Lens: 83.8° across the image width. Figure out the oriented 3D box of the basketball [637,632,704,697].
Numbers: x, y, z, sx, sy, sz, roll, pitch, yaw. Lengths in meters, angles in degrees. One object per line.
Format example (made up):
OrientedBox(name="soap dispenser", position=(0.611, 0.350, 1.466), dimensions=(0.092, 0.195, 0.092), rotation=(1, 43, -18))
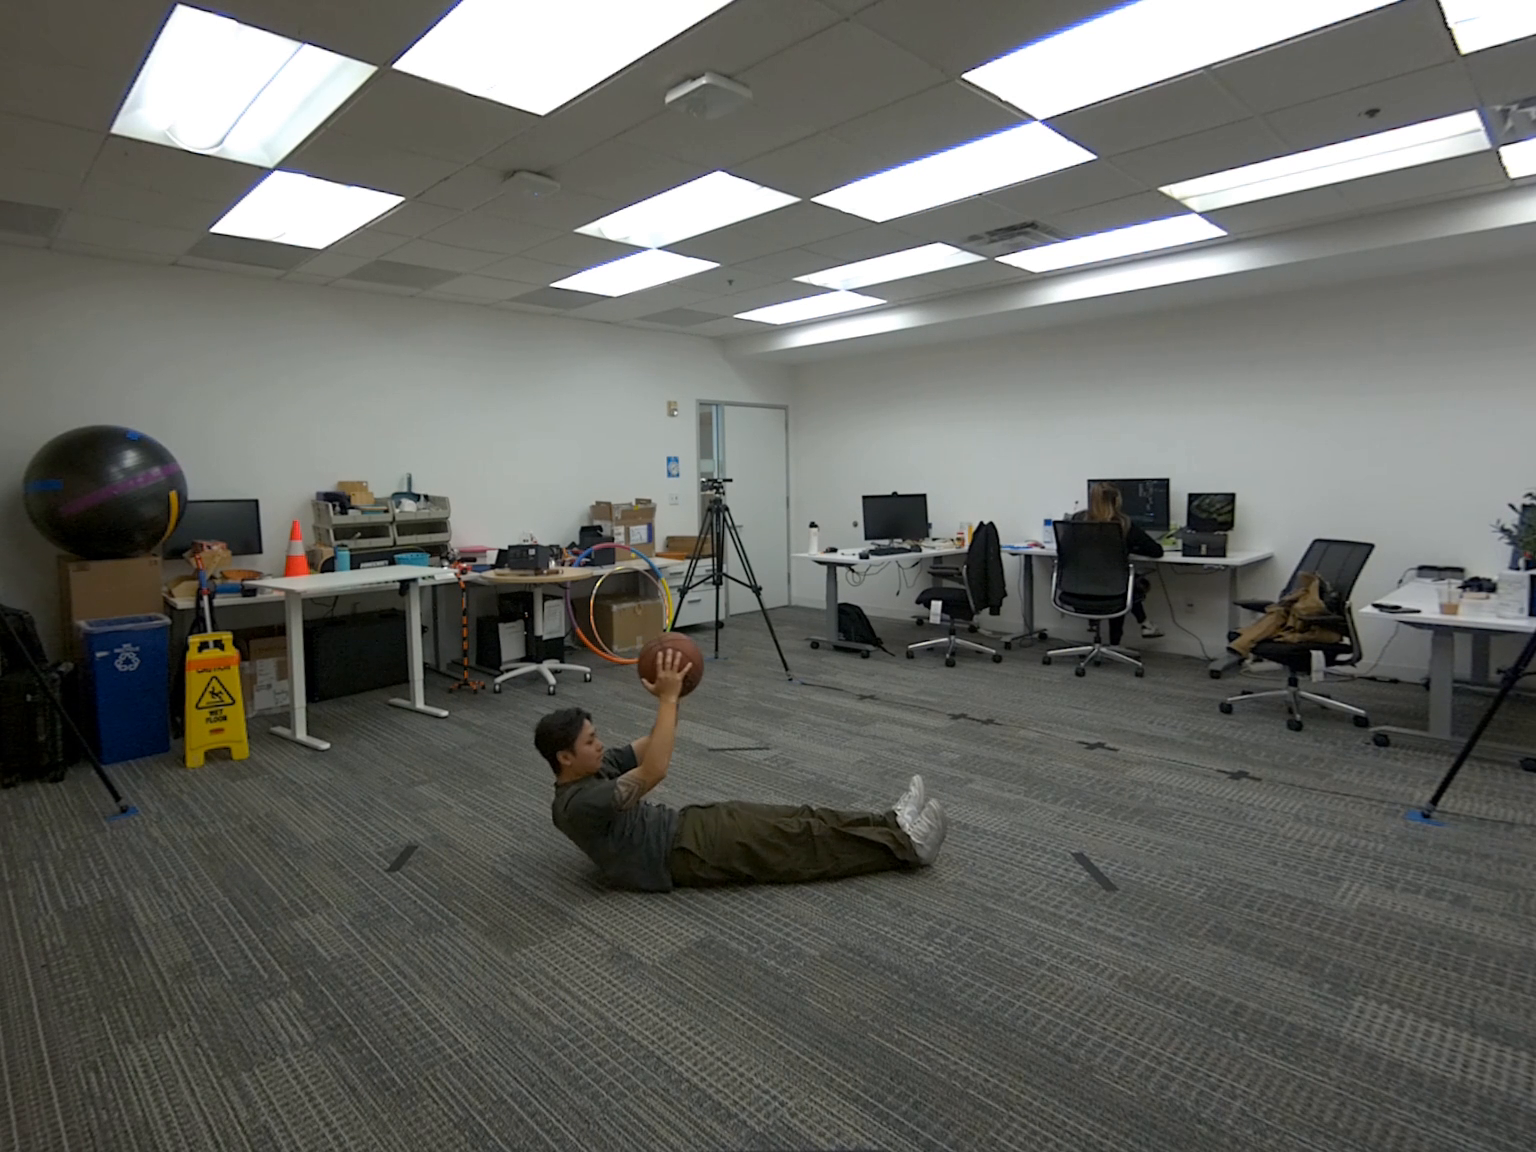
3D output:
OrientedBox(name="basketball", position=(-0.350, 0.331, 3.049), dimensions=(0.236, 0.235, 0.237), rotation=(-1, 5, -2))
